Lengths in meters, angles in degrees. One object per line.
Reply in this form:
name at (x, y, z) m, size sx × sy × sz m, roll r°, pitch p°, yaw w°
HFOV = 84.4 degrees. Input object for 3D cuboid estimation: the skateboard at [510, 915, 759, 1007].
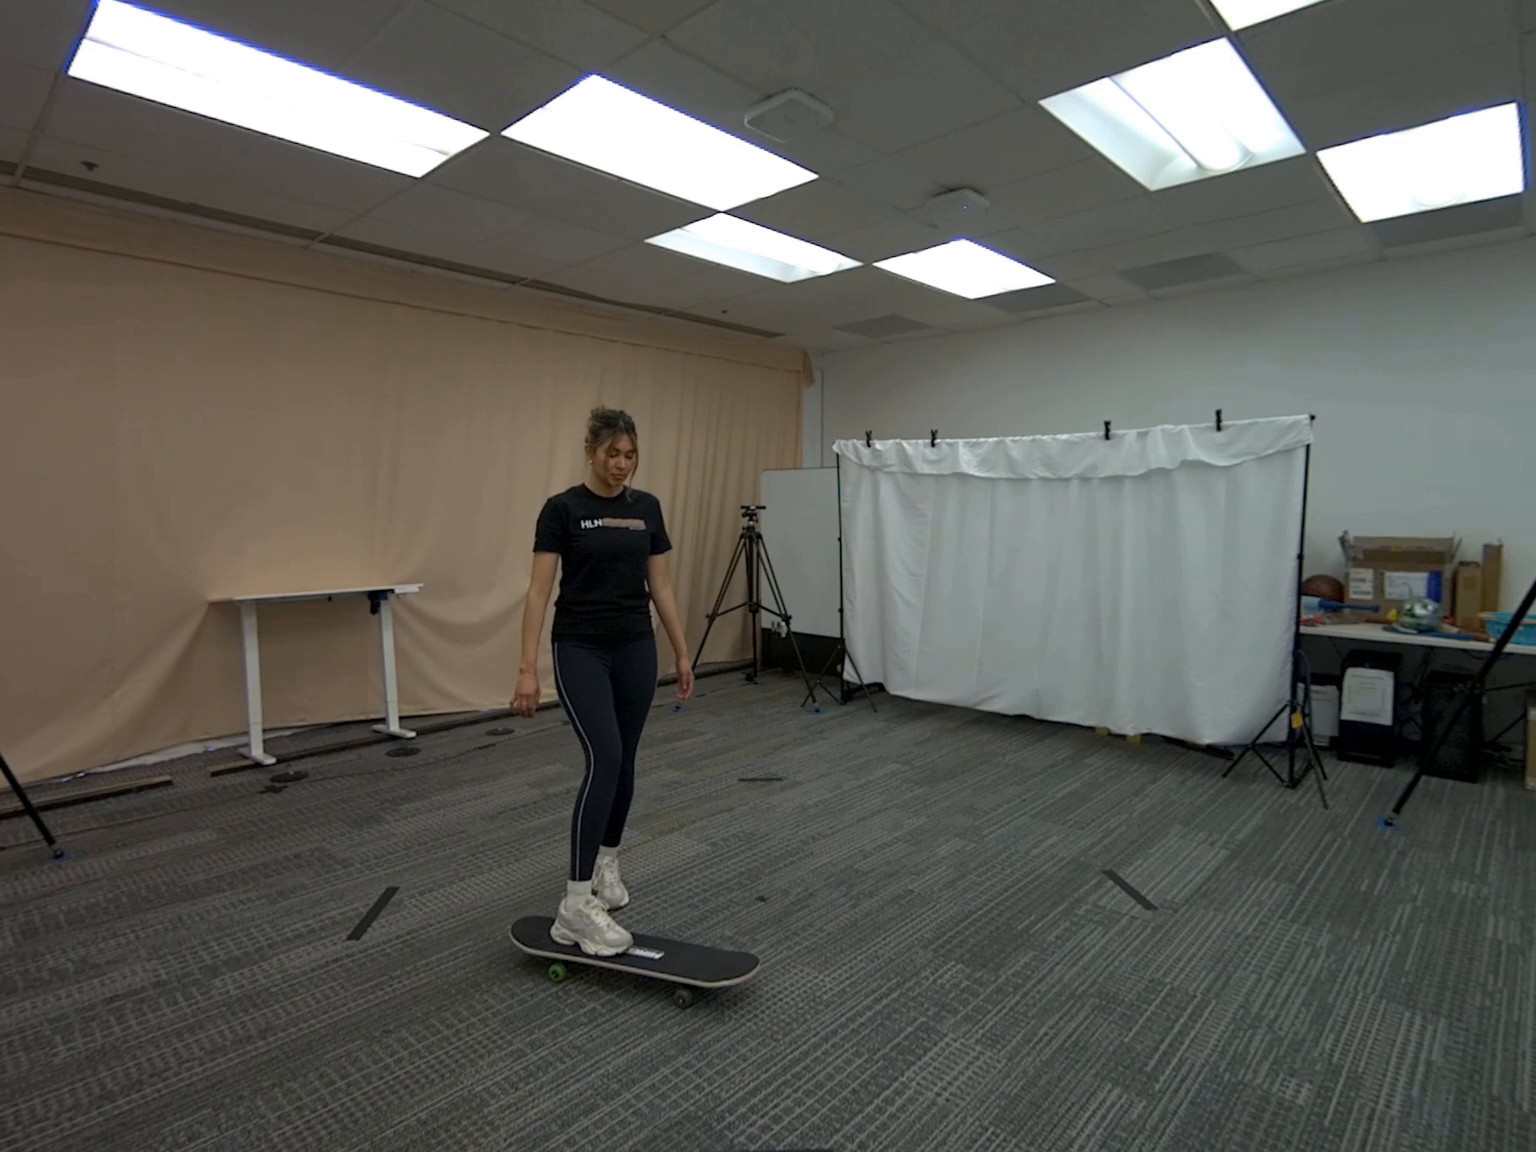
skateboard at (-0.407, 1.131, 2.477) m, size 0.801 × 0.110 × 0.190 m, roll 1°, pitch 4°, yaw 19°
